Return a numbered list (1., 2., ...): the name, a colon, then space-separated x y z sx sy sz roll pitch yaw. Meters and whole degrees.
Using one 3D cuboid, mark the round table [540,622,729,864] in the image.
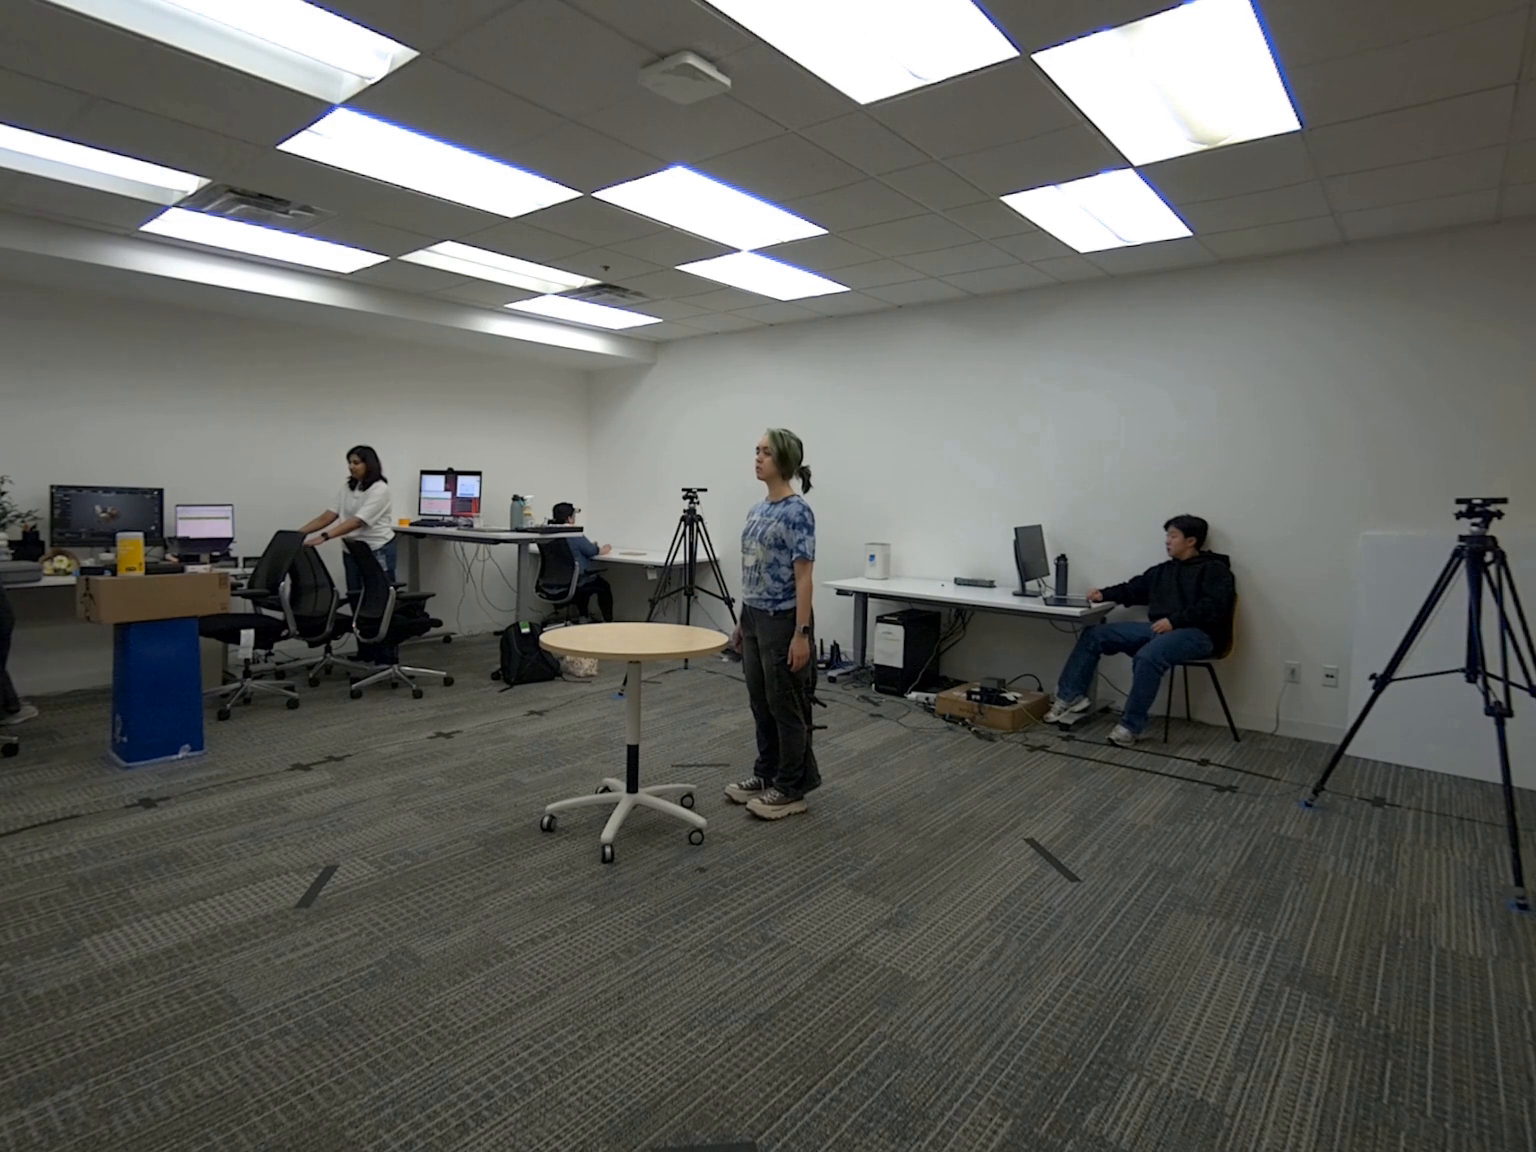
1. round table: -0.565 0.638 3.476 0.763 0.792 0.767 1 3 -2
